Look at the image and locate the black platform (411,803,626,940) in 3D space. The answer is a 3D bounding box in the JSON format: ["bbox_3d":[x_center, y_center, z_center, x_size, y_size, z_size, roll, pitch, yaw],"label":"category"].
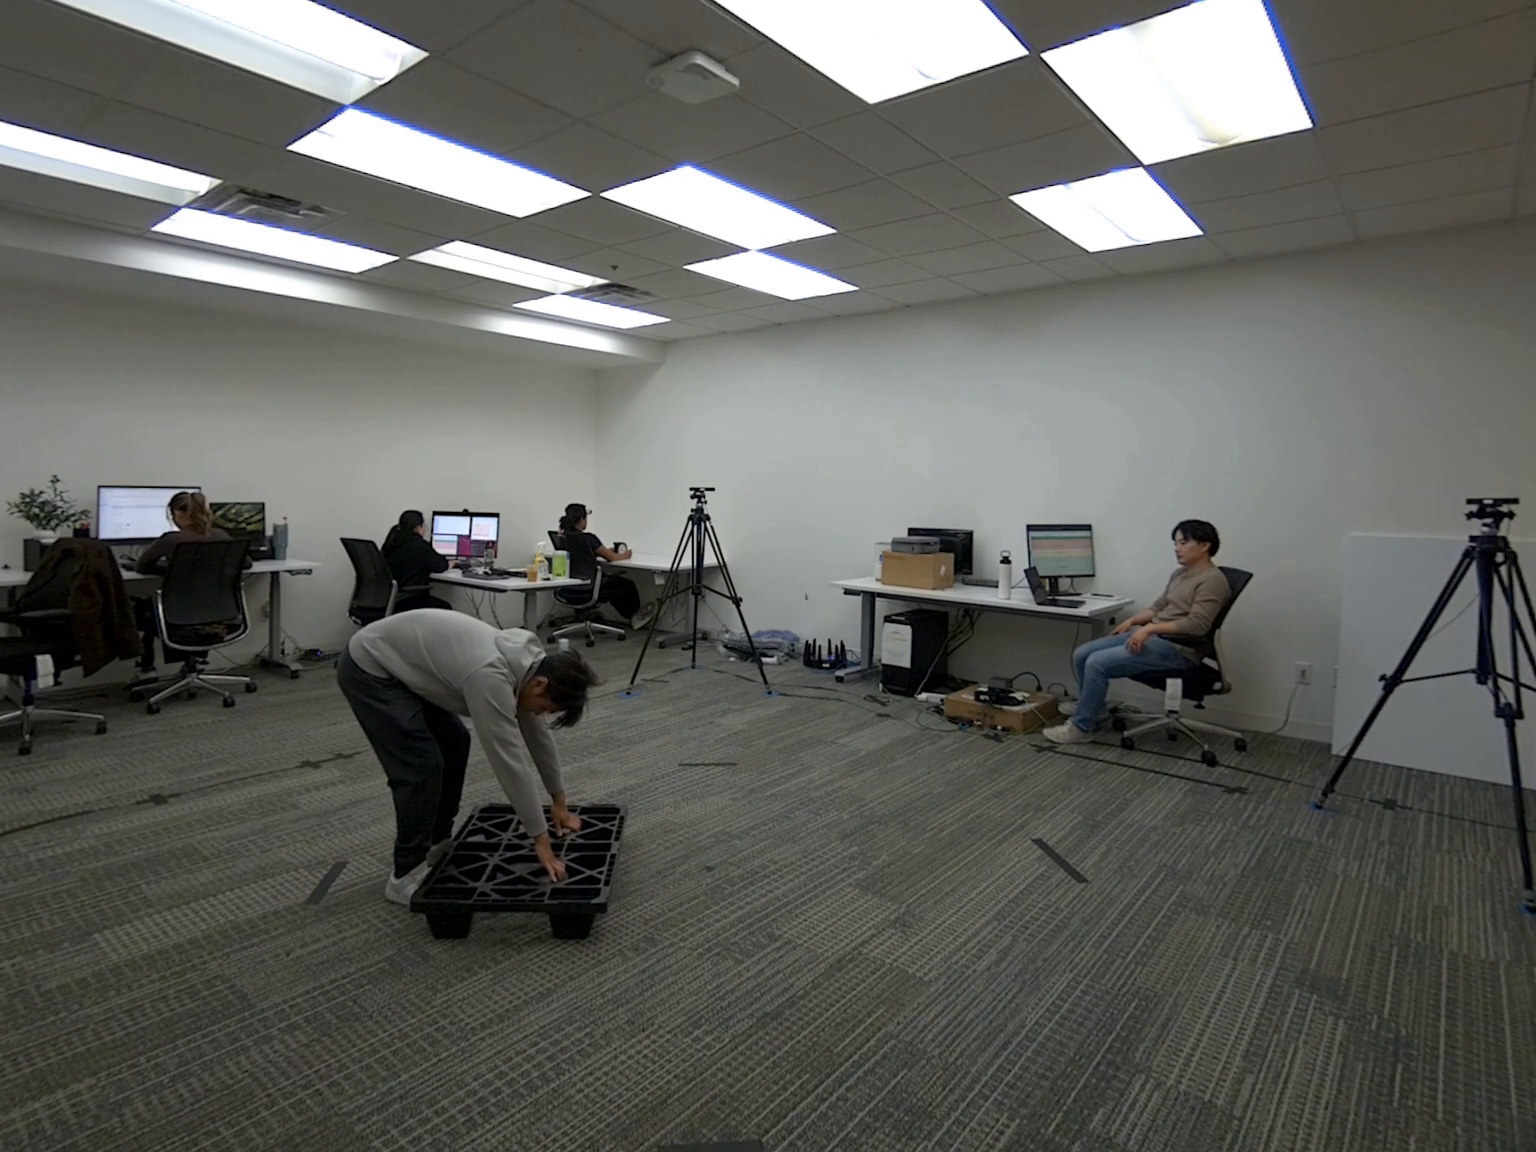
[{"bbox_3d":[-0.829,1.002,2.958,0.604,0.143,0.811,-1,5,-3],"label":"black platform"}]
